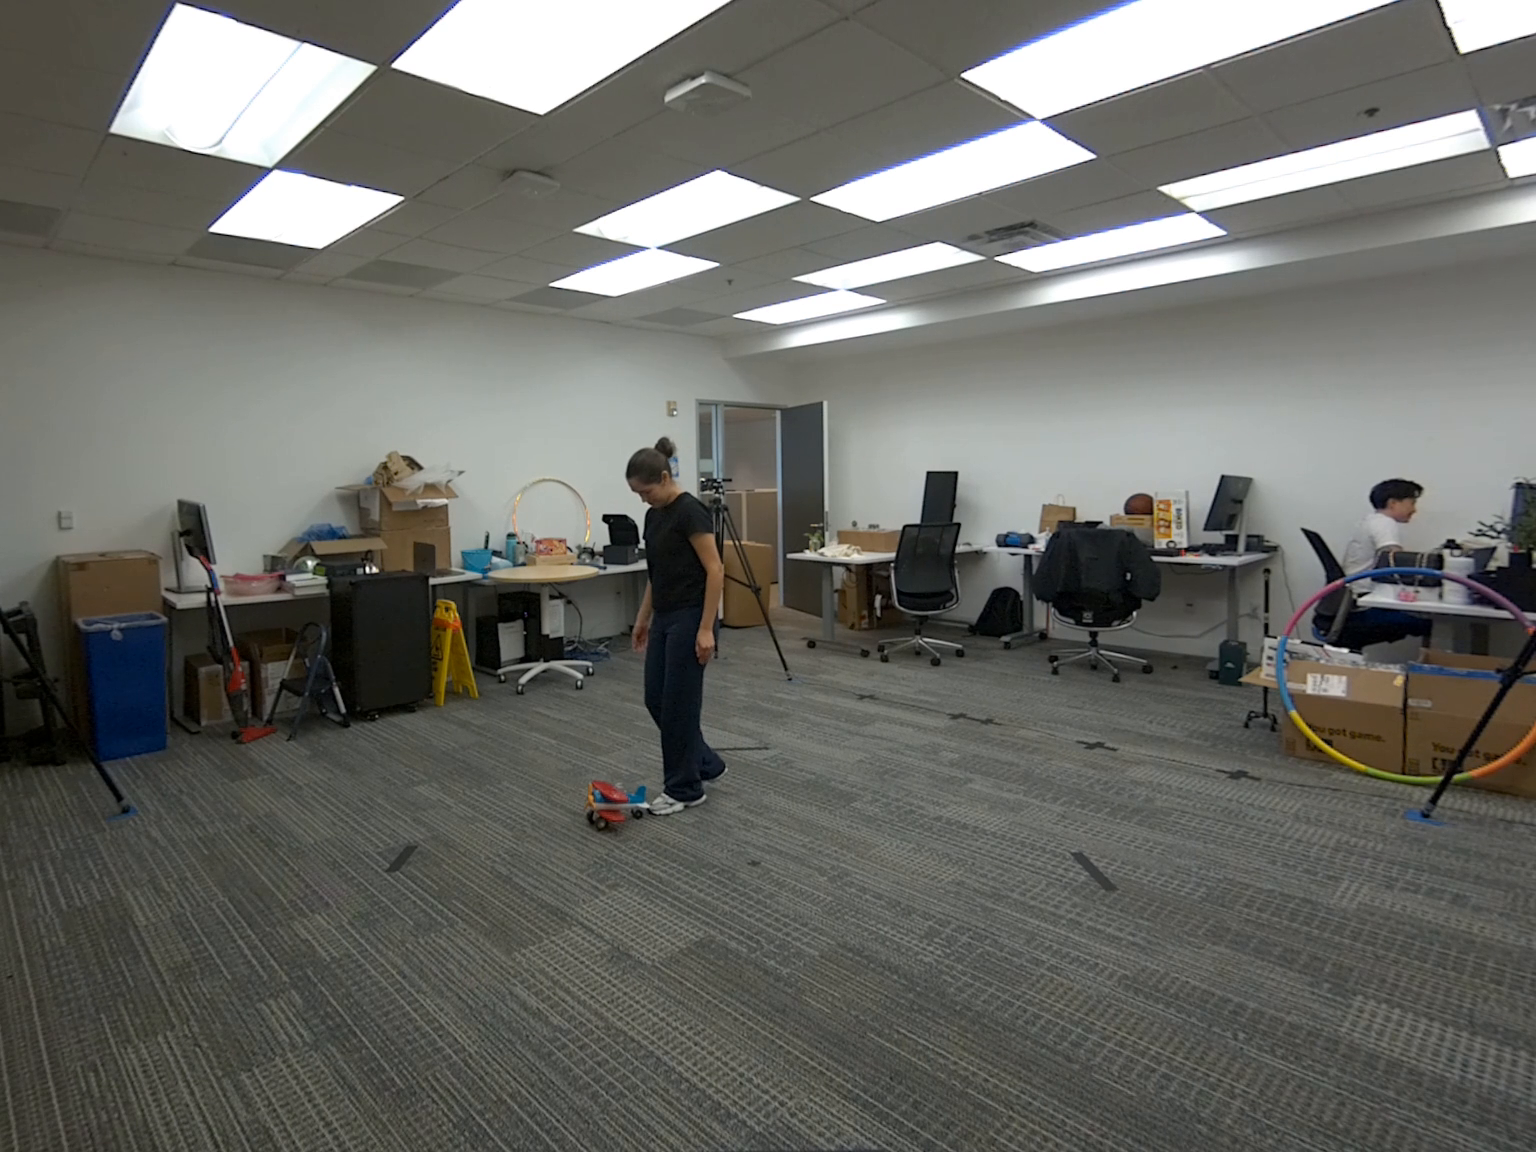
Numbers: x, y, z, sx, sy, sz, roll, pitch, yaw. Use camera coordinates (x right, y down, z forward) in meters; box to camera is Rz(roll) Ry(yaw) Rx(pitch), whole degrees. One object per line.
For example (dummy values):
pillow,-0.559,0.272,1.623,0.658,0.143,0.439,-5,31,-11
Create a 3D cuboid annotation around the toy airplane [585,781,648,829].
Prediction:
toy airplane,-0.634,0.933,3.527,0.257,0.156,0.254,2,6,29
